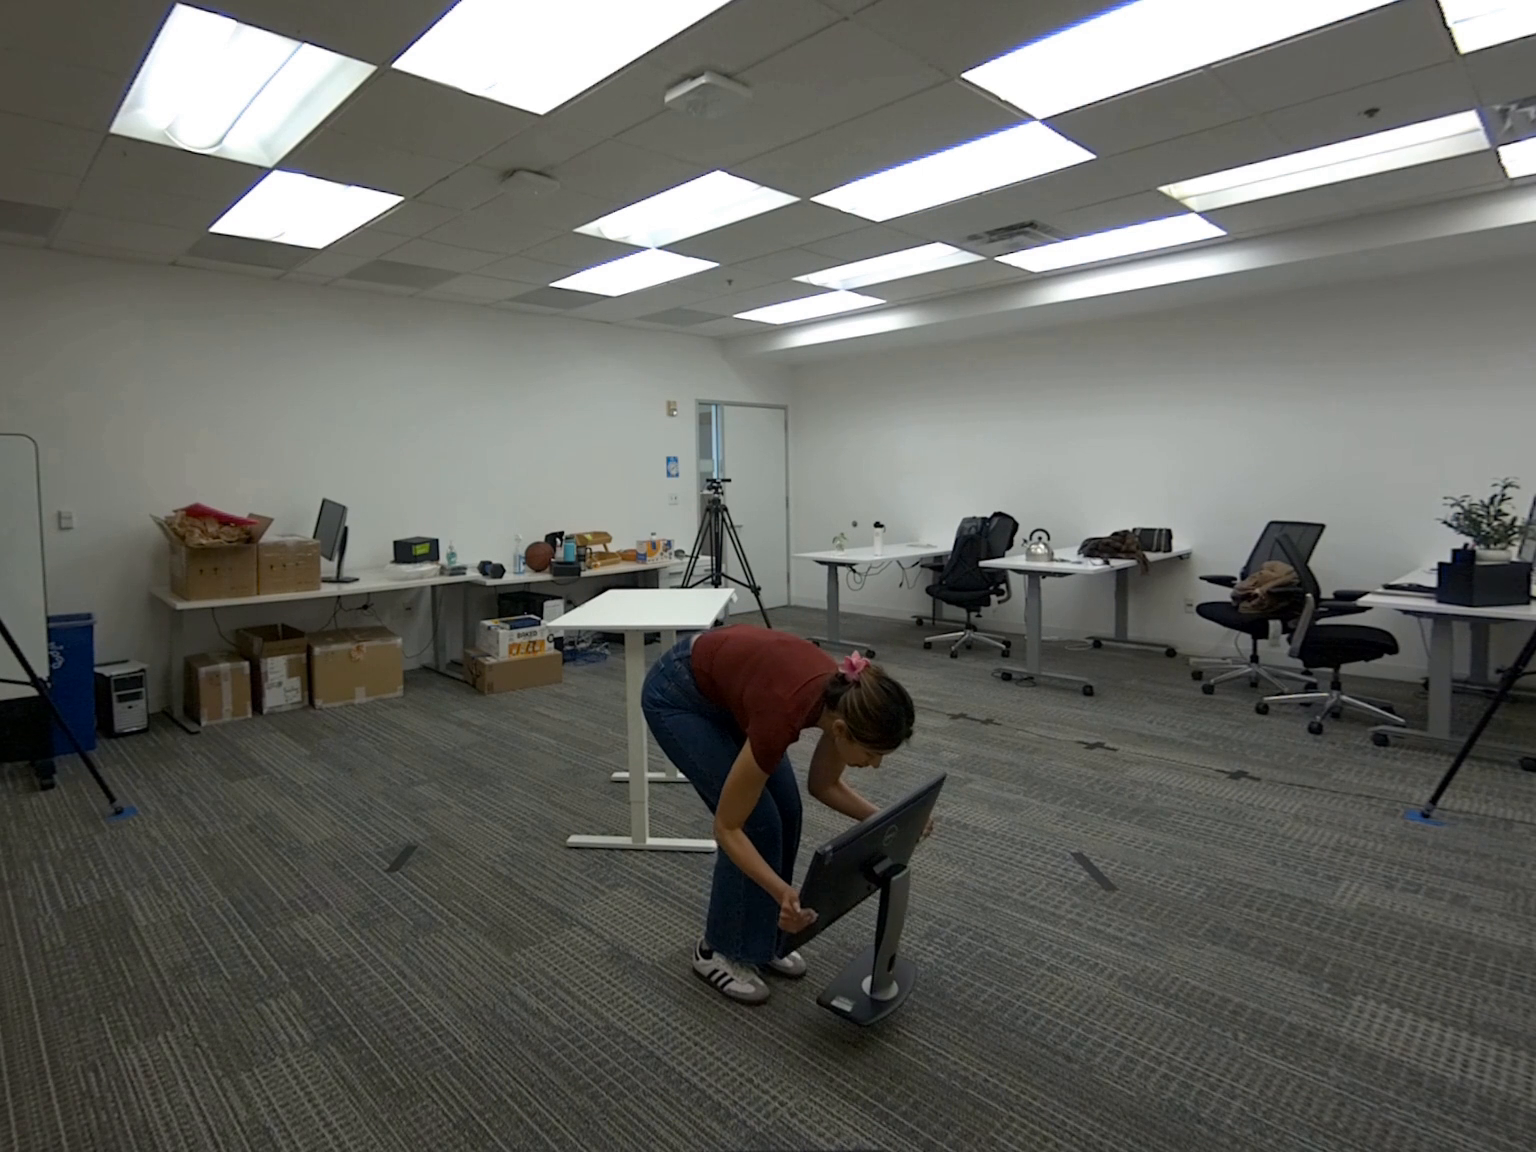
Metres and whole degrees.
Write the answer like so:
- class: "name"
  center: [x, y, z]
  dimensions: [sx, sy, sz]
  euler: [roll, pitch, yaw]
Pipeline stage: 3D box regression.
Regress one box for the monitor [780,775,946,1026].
- class: "monitor"
  center: [0.269, 0.811, 2.144]
  dimensions: [0.193, 0.517, 0.527]
  euler: [11, 16, 39]
